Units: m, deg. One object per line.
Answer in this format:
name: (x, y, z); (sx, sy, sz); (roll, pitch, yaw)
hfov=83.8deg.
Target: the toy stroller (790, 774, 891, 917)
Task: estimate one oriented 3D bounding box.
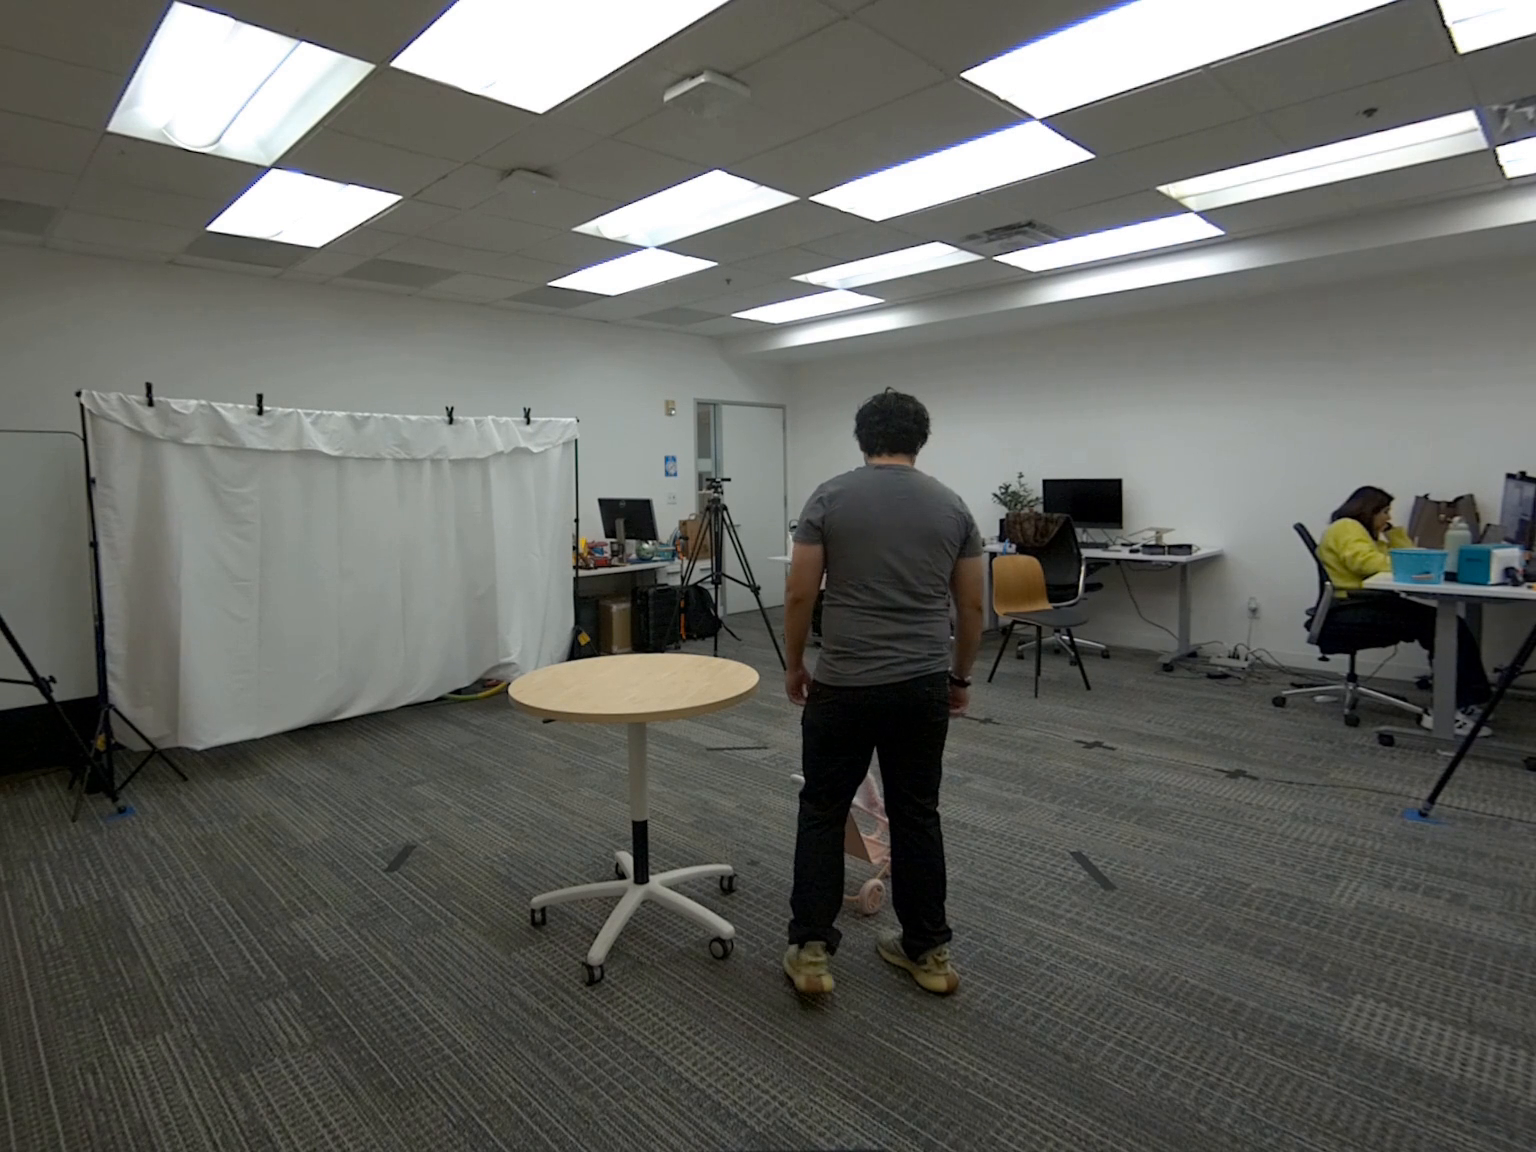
toy stroller: (0.293, 0.841, 2.852); (0.336, 0.527, 0.290); (-22, 16, -36)
